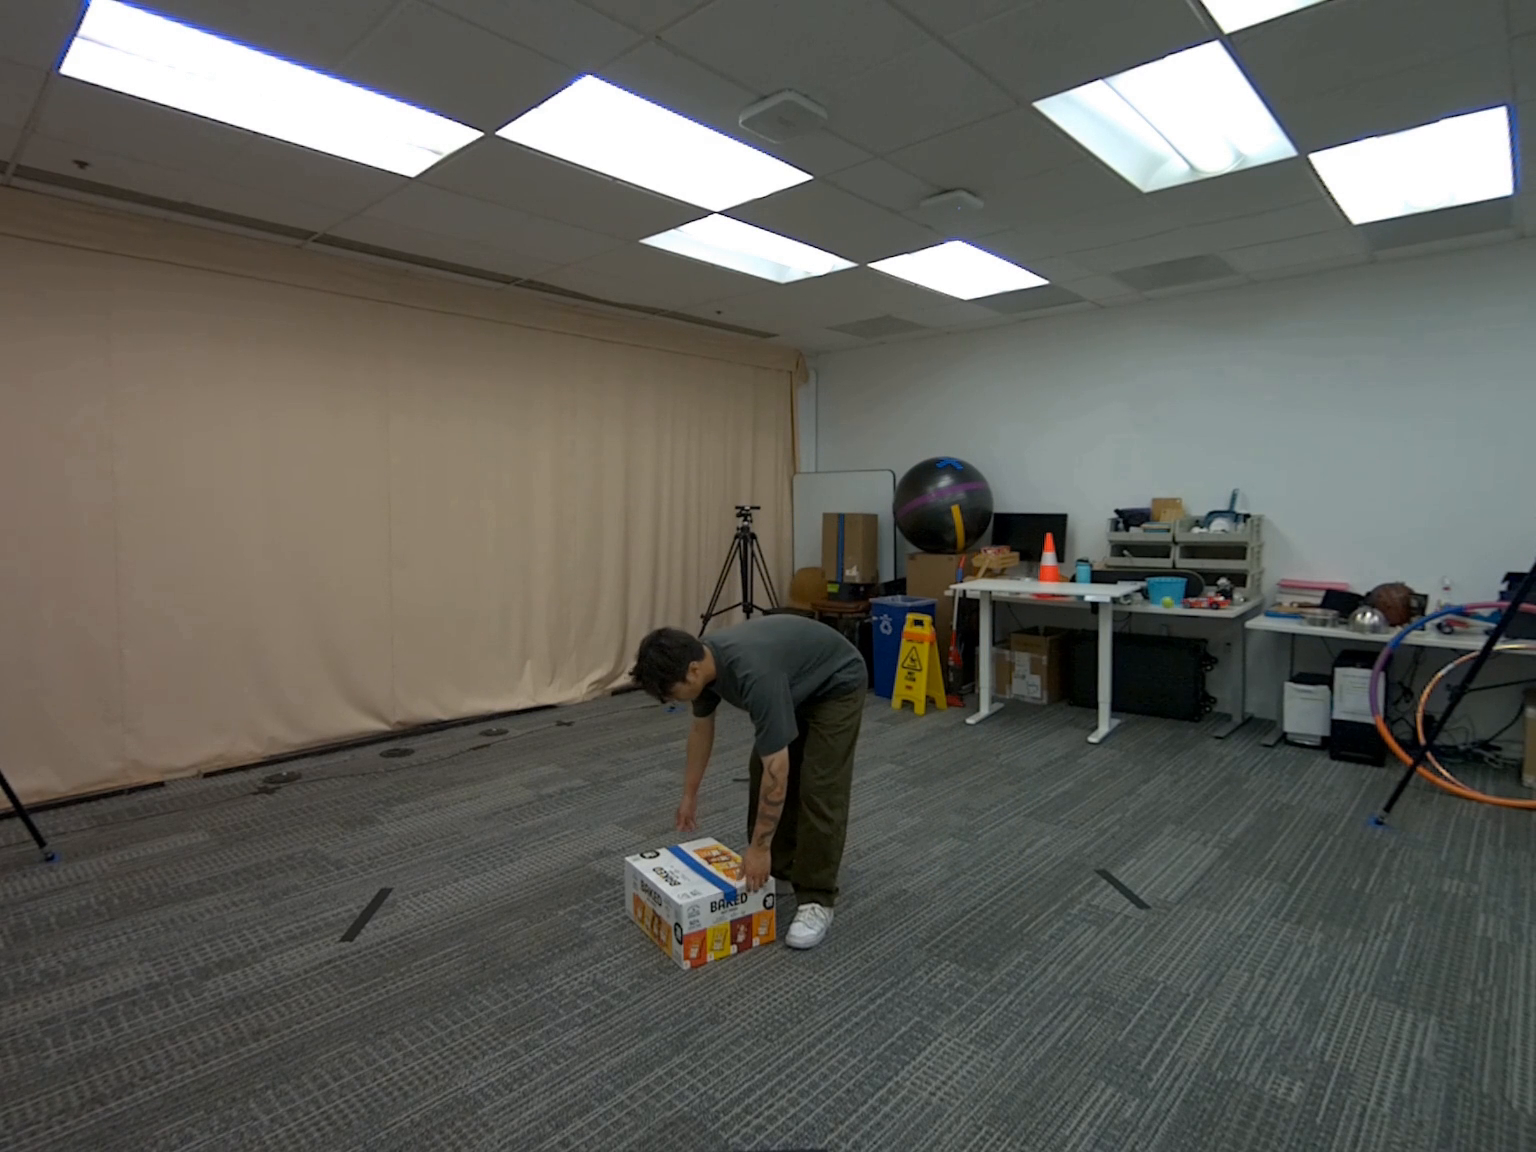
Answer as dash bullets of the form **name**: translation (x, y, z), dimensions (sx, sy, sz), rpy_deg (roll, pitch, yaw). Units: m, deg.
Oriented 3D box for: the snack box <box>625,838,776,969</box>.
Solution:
- **snack box**: translation (-0.230, 1.057, 2.776), dimensions (0.331, 0.205, 0.417), rpy_deg (-3, 5, -33)
